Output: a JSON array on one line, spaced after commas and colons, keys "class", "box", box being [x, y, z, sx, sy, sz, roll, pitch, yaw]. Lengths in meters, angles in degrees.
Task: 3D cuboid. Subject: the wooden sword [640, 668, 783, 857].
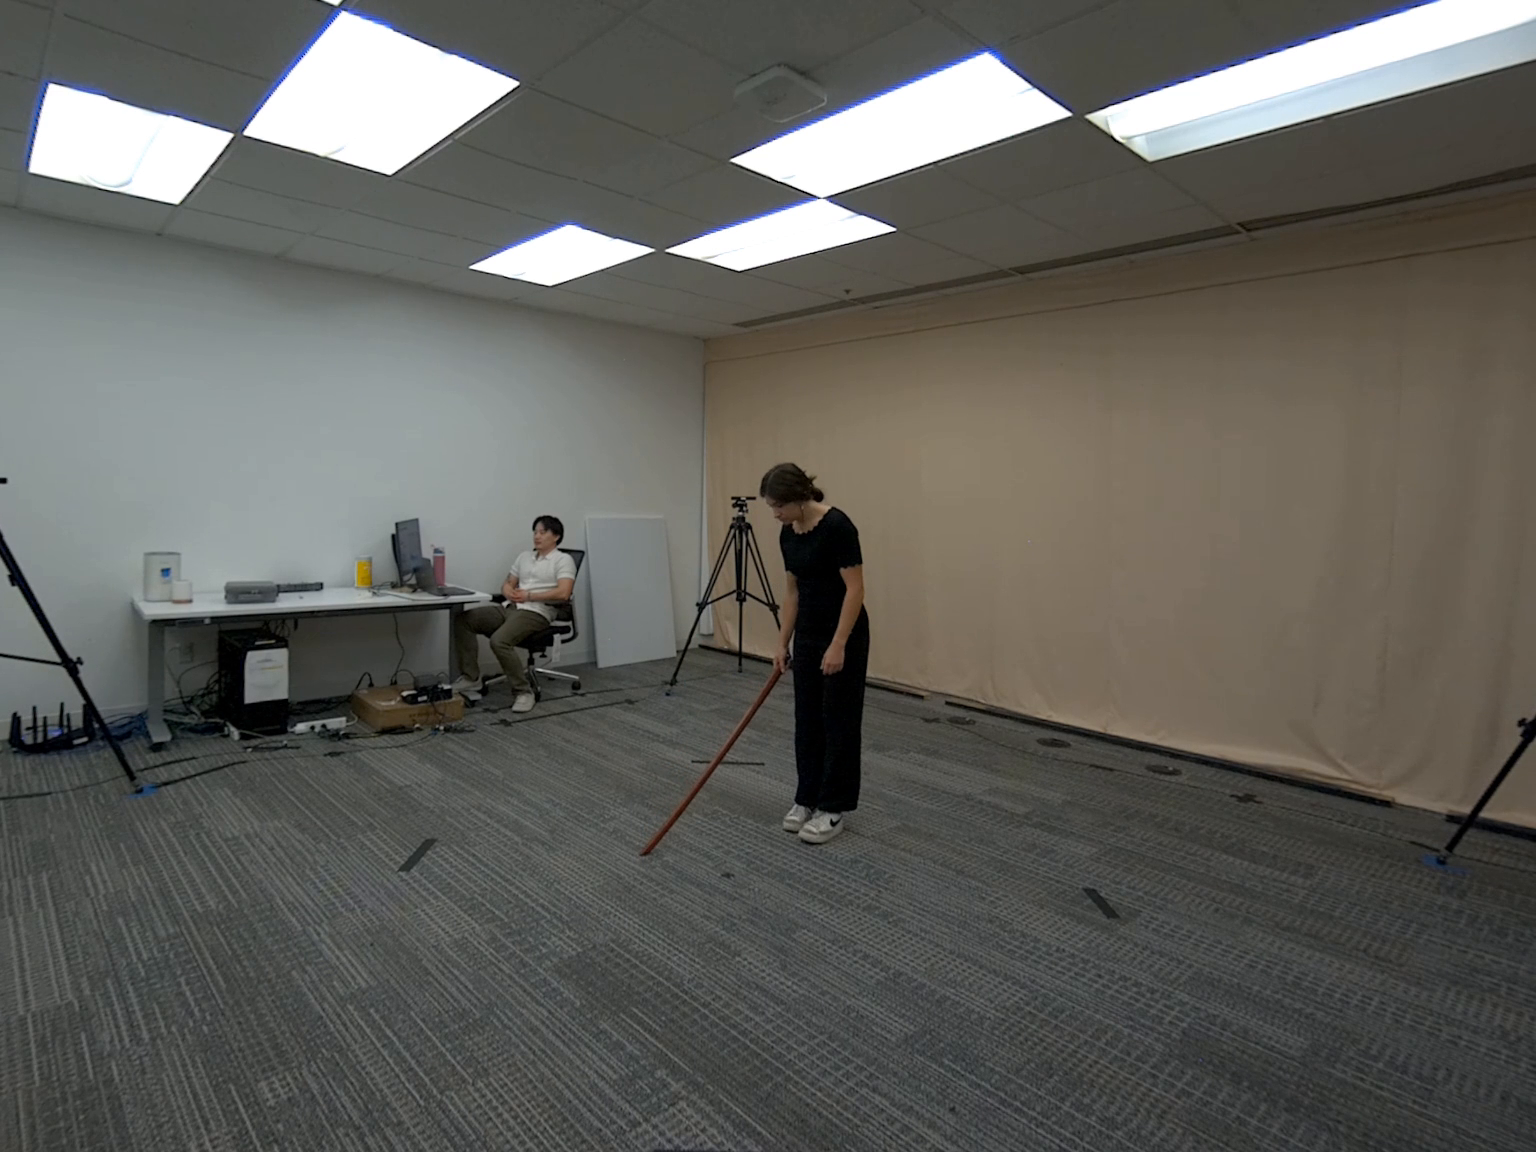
[{"class": "wooden sword", "box": [-0.194, 0.727, 3.465, 0.051, 1.025, 0.024, 42, -25, -3]}]
